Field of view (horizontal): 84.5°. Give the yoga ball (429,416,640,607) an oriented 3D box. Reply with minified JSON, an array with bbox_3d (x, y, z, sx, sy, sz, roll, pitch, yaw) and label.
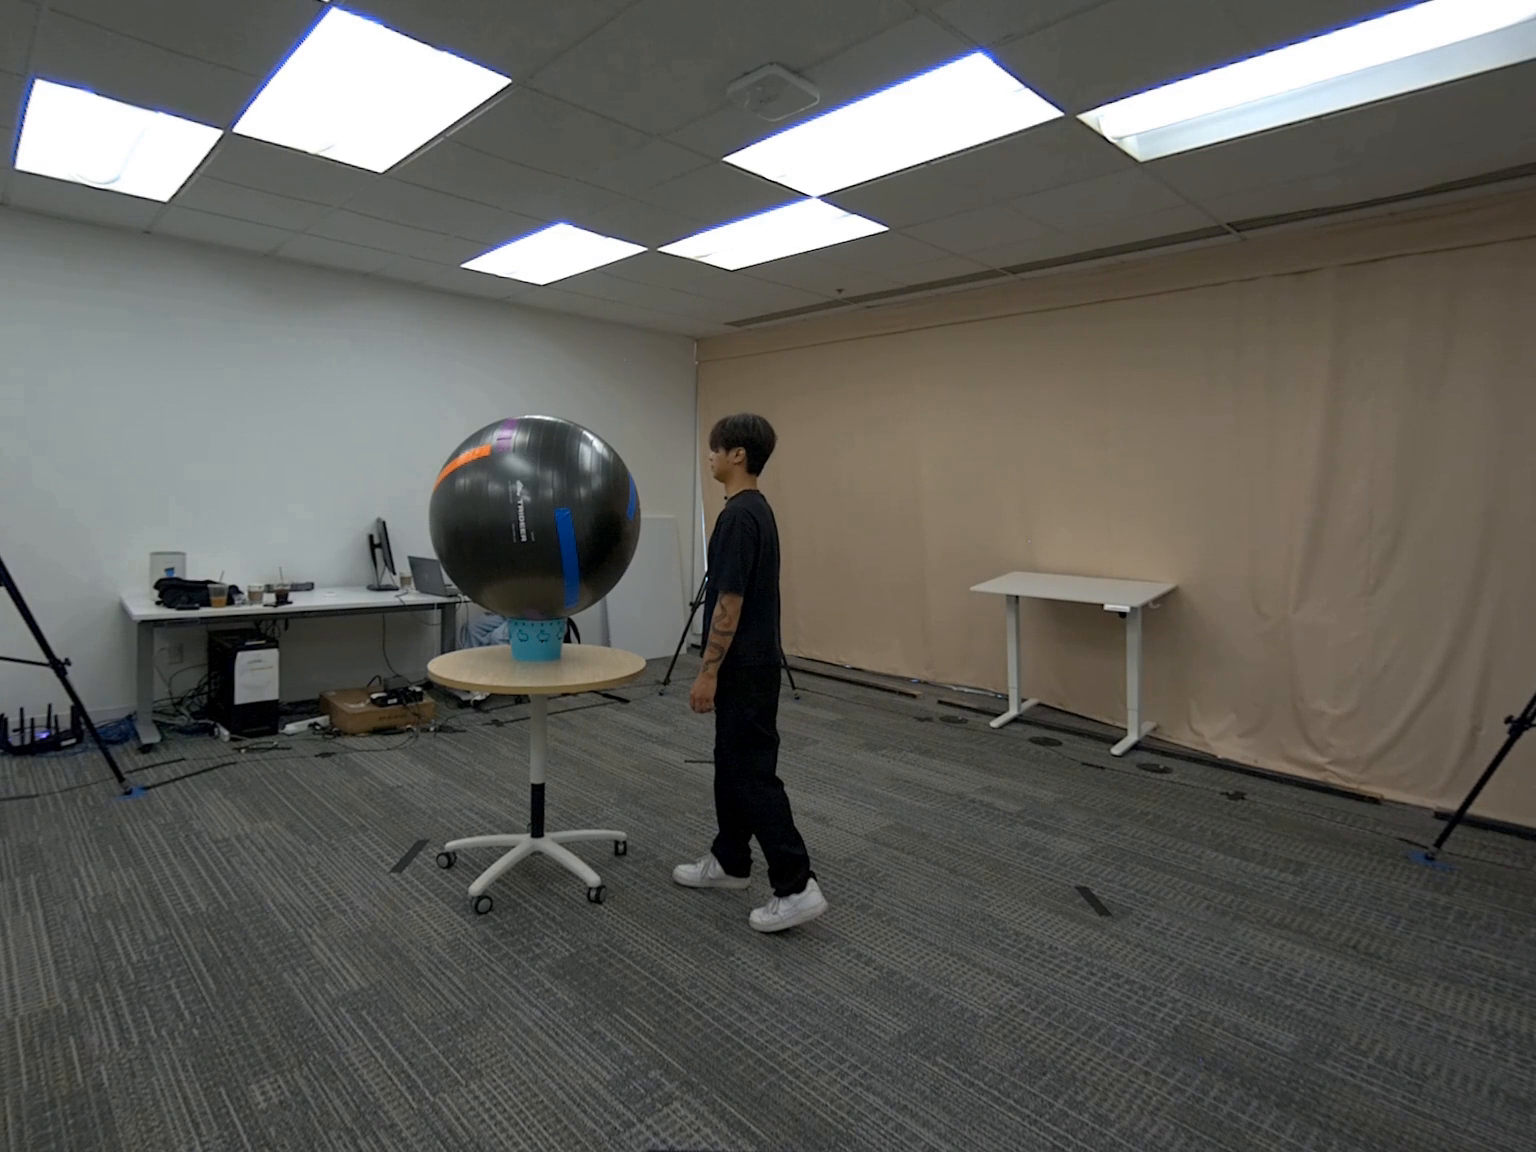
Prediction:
[{"bbox_3d":[-0.862,-0.208,3.114,0.757,0.756,0.761,1,4,-1],"label":"yoga ball"}]
